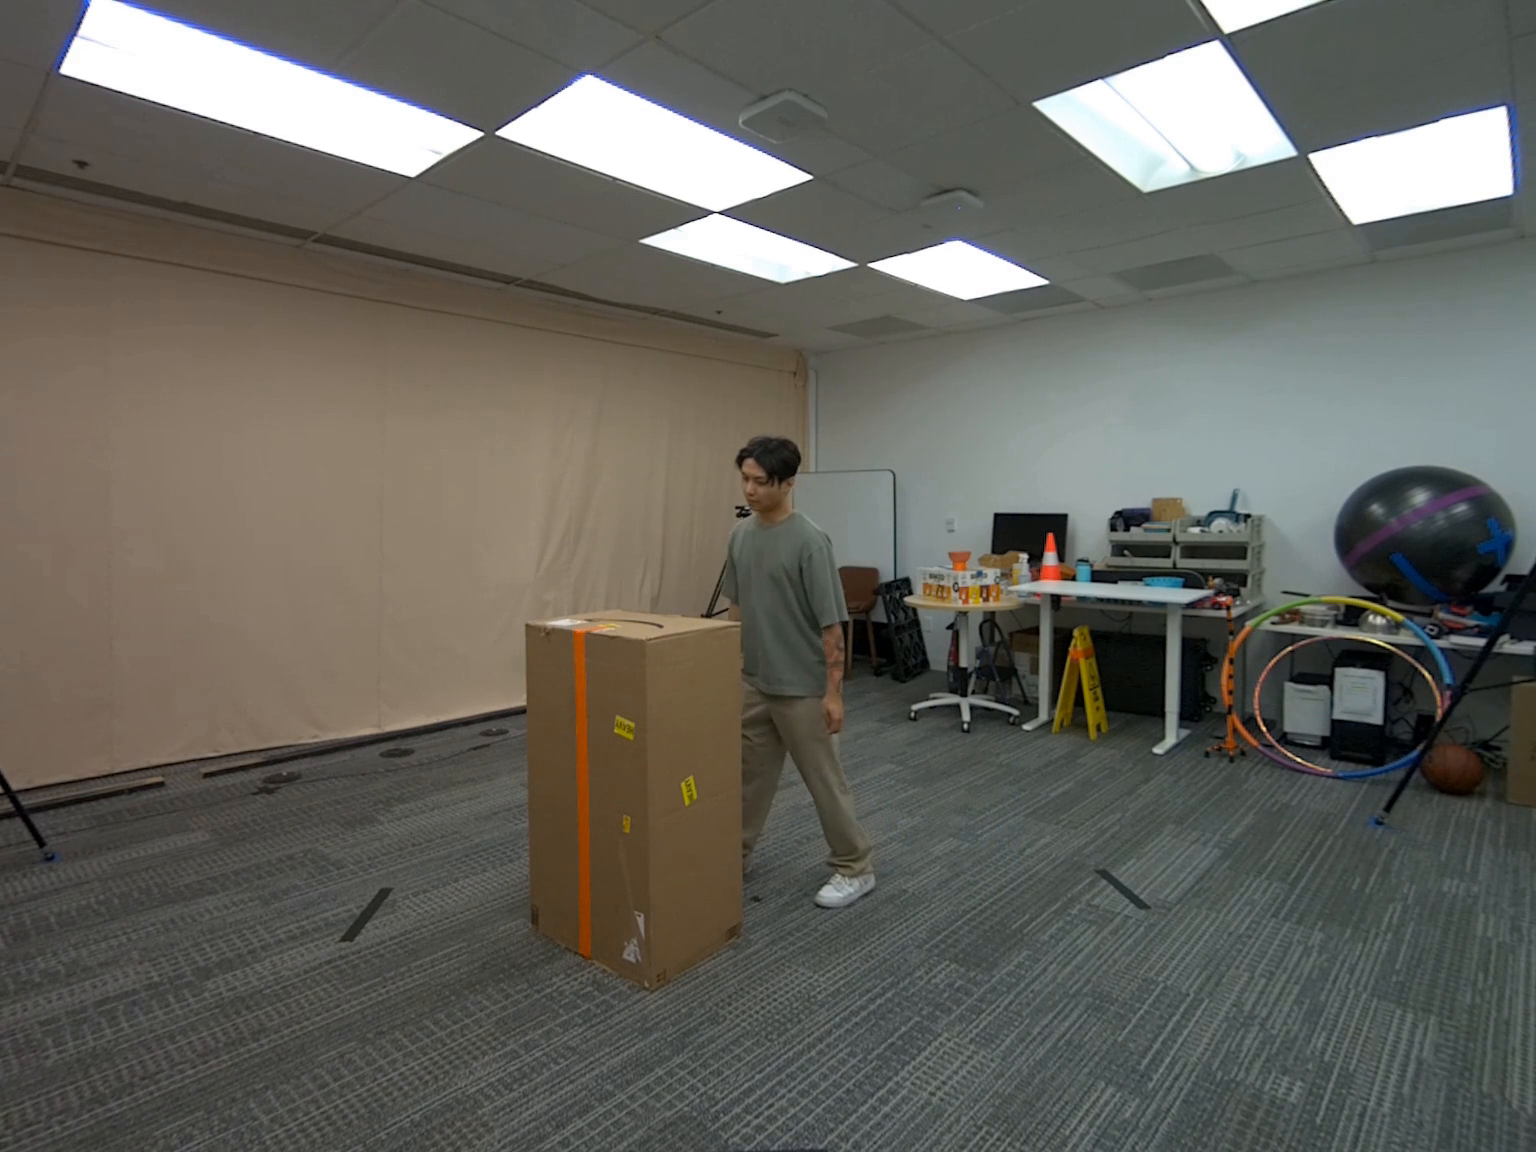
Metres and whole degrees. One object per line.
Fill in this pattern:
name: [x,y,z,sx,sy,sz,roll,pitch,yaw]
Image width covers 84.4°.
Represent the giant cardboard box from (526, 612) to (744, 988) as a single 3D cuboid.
giant cardboard box: [-0.442,0.659,2.727,0.596,1.024,0.413,2,4,39]
